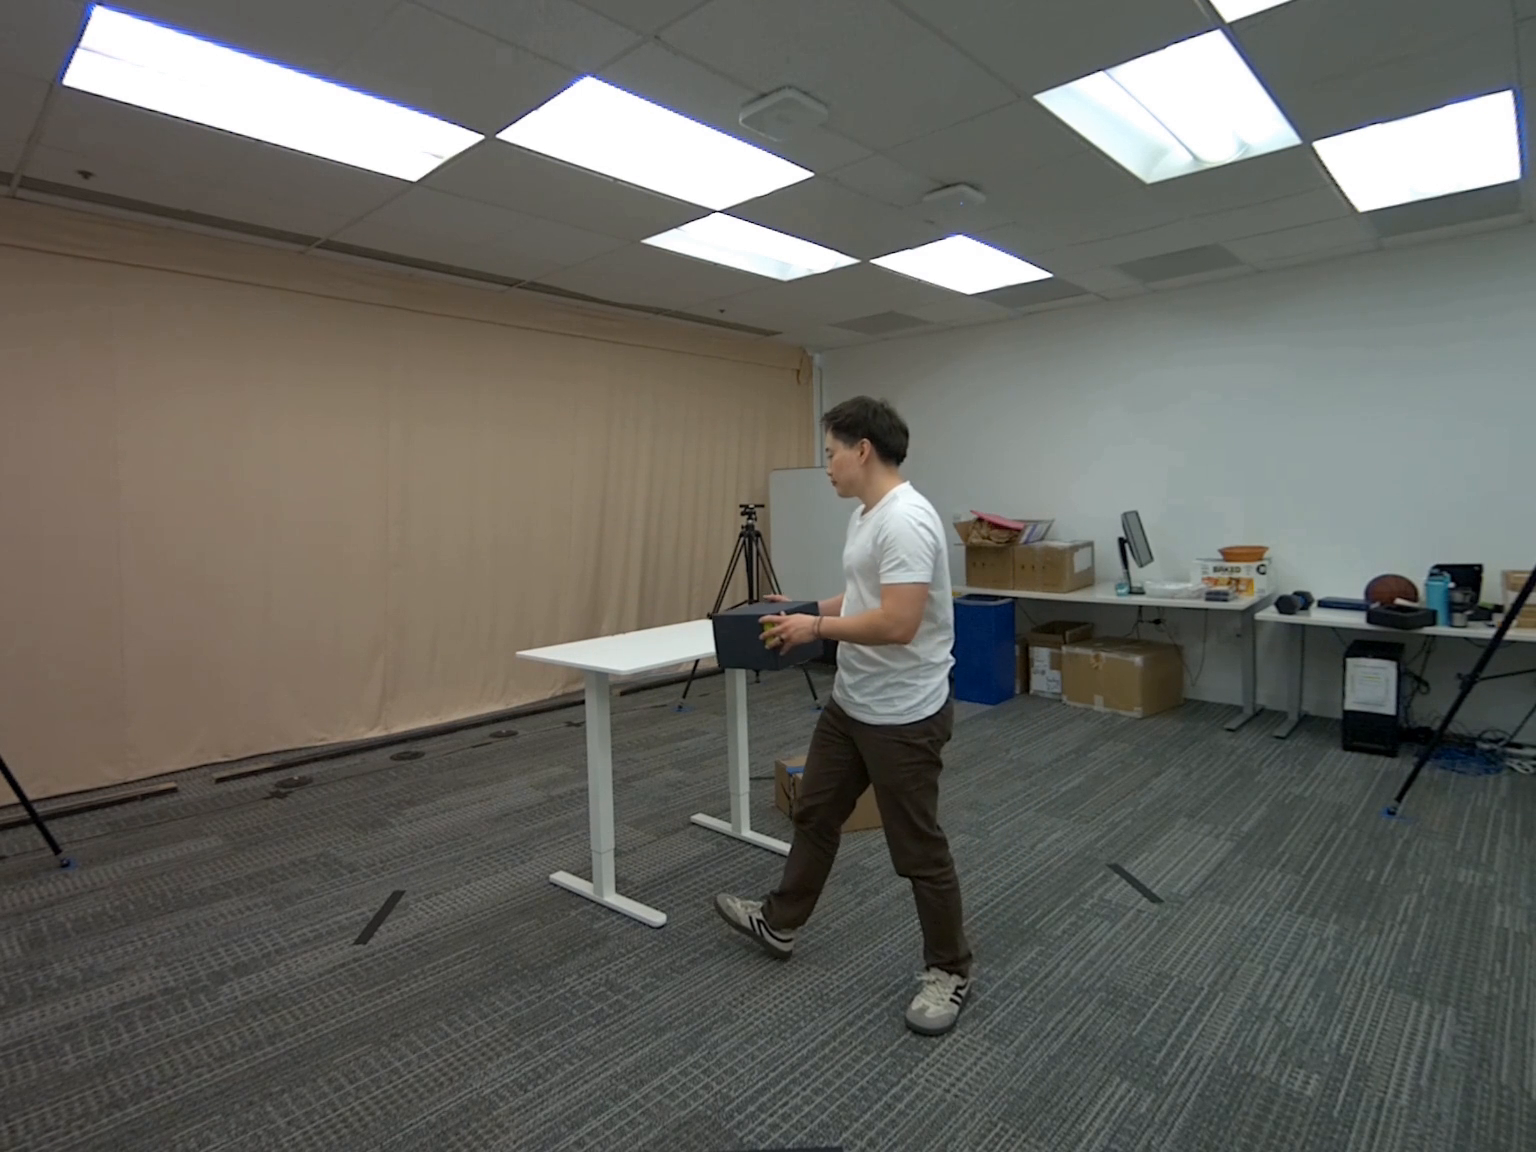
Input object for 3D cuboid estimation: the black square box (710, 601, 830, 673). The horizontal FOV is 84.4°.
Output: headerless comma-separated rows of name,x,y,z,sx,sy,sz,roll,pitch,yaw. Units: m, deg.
black square box,-0.005,0.166,2.396,0.223,0.155,0.222,-1,6,35
